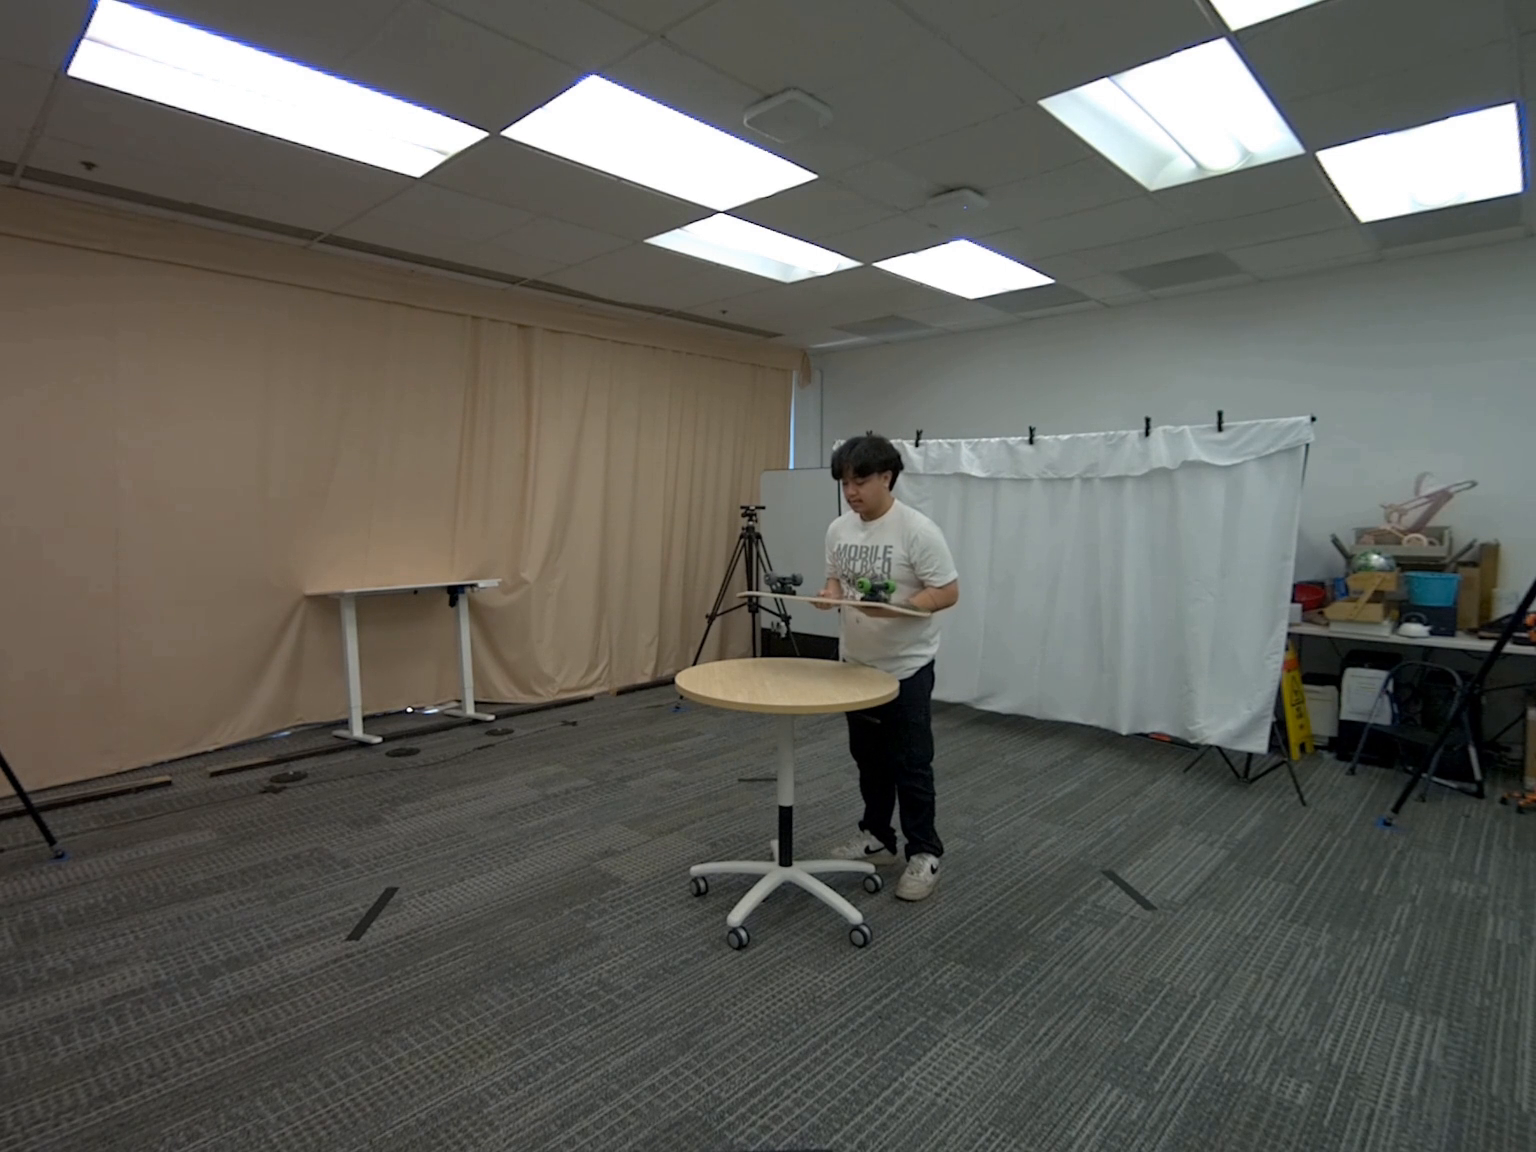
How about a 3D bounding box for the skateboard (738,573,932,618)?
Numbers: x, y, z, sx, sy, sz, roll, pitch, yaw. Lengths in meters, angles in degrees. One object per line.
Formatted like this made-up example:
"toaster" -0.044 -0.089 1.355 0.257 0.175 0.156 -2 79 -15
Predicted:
"skateboard" 0.203 0.060 2.965 0.812 0.110 0.187 5 2 42
